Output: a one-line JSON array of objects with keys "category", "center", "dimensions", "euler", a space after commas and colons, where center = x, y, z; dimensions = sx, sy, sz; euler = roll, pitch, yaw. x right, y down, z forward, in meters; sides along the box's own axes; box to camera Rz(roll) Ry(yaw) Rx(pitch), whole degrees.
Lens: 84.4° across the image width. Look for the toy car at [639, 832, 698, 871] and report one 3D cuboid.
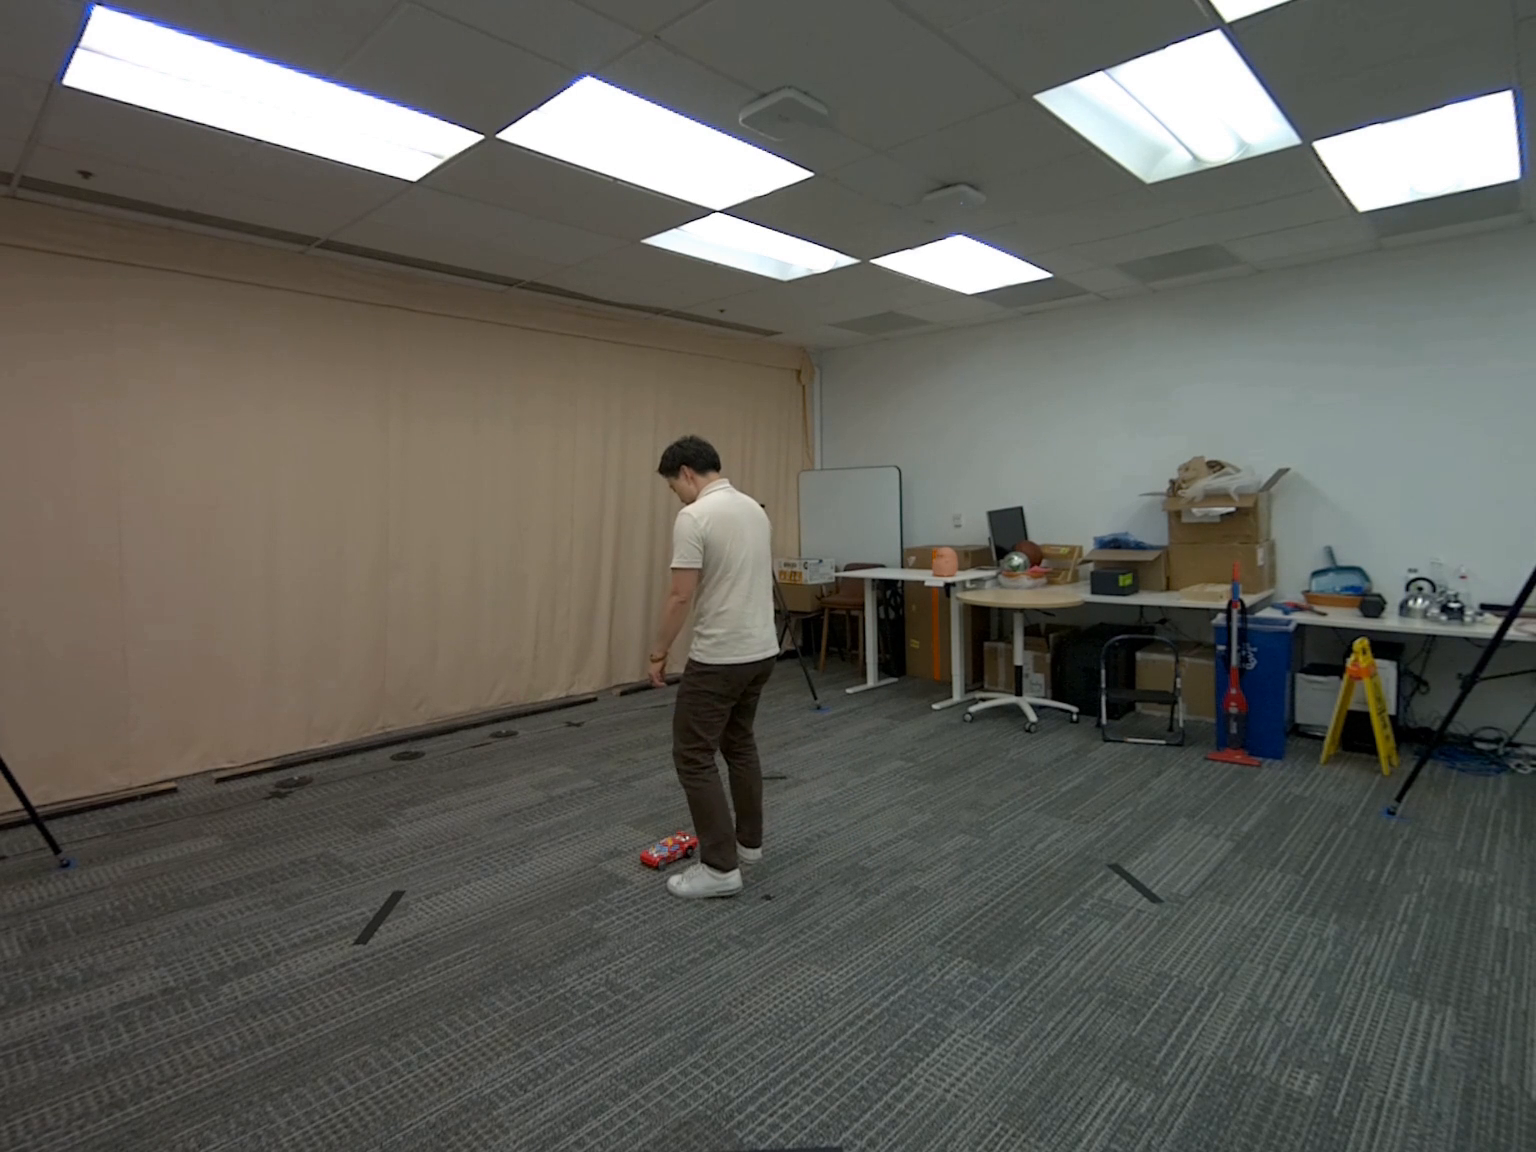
[{"category": "toy car", "center": [-0.386, 1.088, 3.328], "dimensions": [0.134, 0.082, 0.248], "euler": [2, 17, 43]}]
